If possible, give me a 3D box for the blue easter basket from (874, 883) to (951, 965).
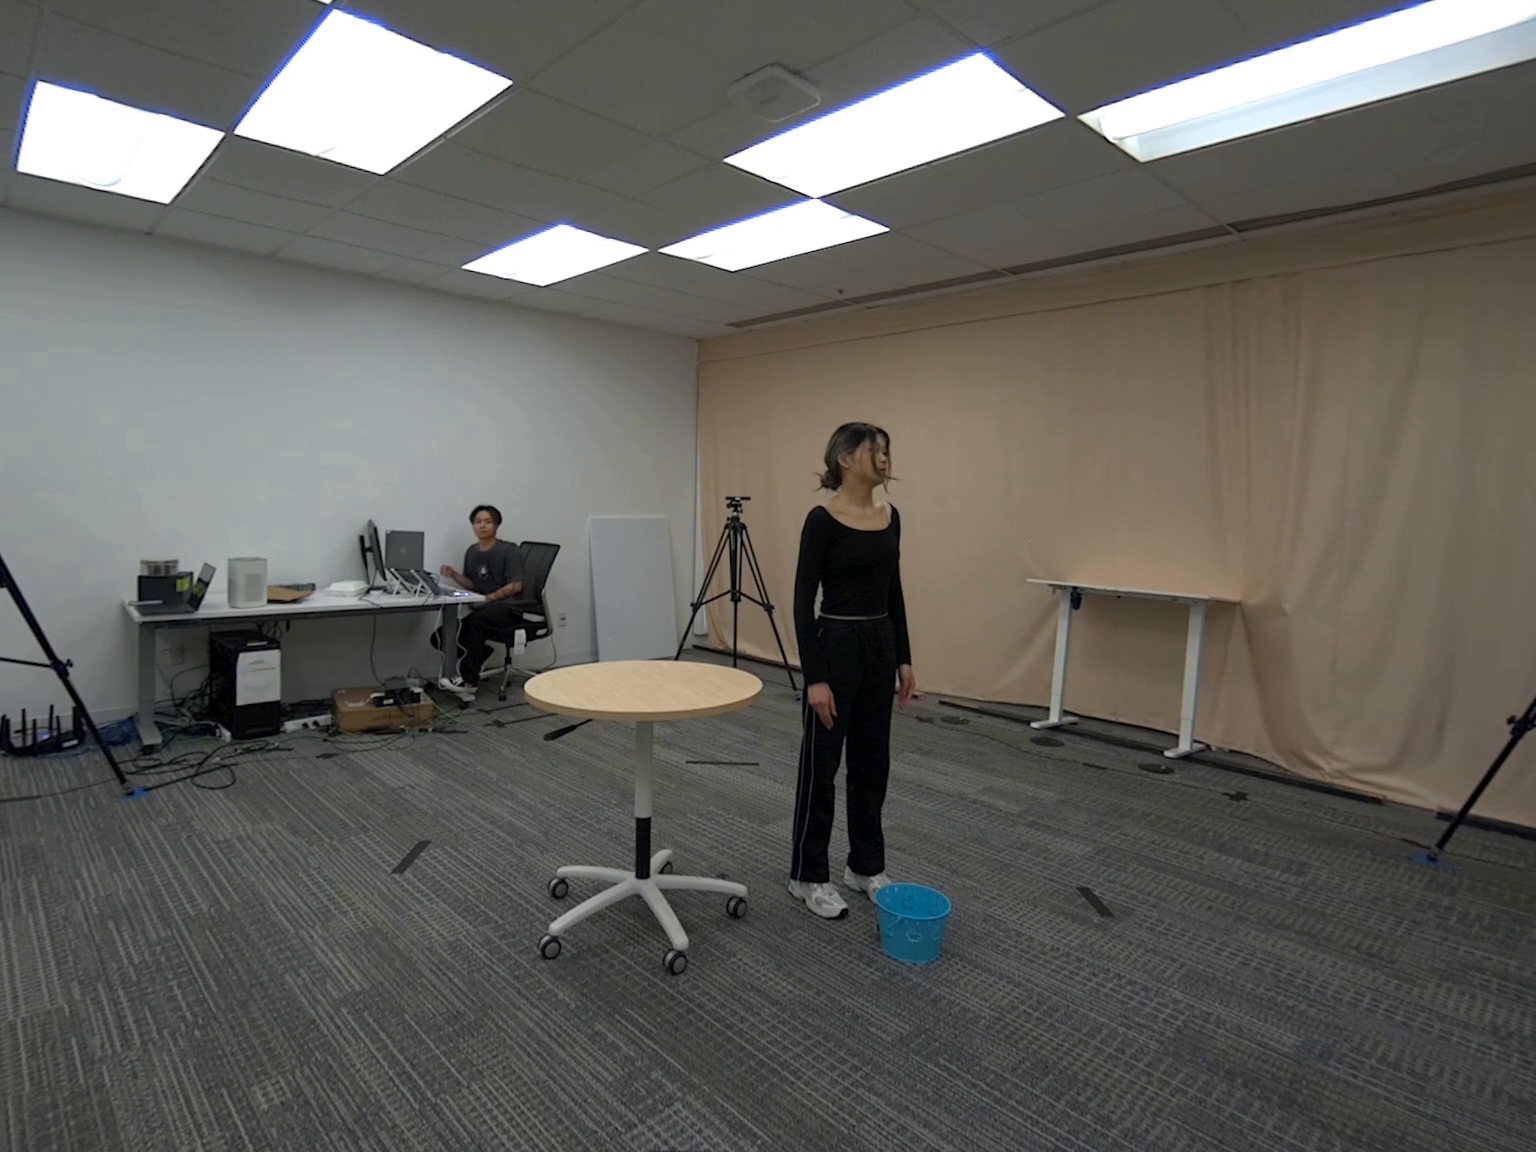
[{"bbox_3d":[0.447,1.091,2.634,0.243,0.155,0.244,2,5,-2],"label":"blue easter basket"}]
